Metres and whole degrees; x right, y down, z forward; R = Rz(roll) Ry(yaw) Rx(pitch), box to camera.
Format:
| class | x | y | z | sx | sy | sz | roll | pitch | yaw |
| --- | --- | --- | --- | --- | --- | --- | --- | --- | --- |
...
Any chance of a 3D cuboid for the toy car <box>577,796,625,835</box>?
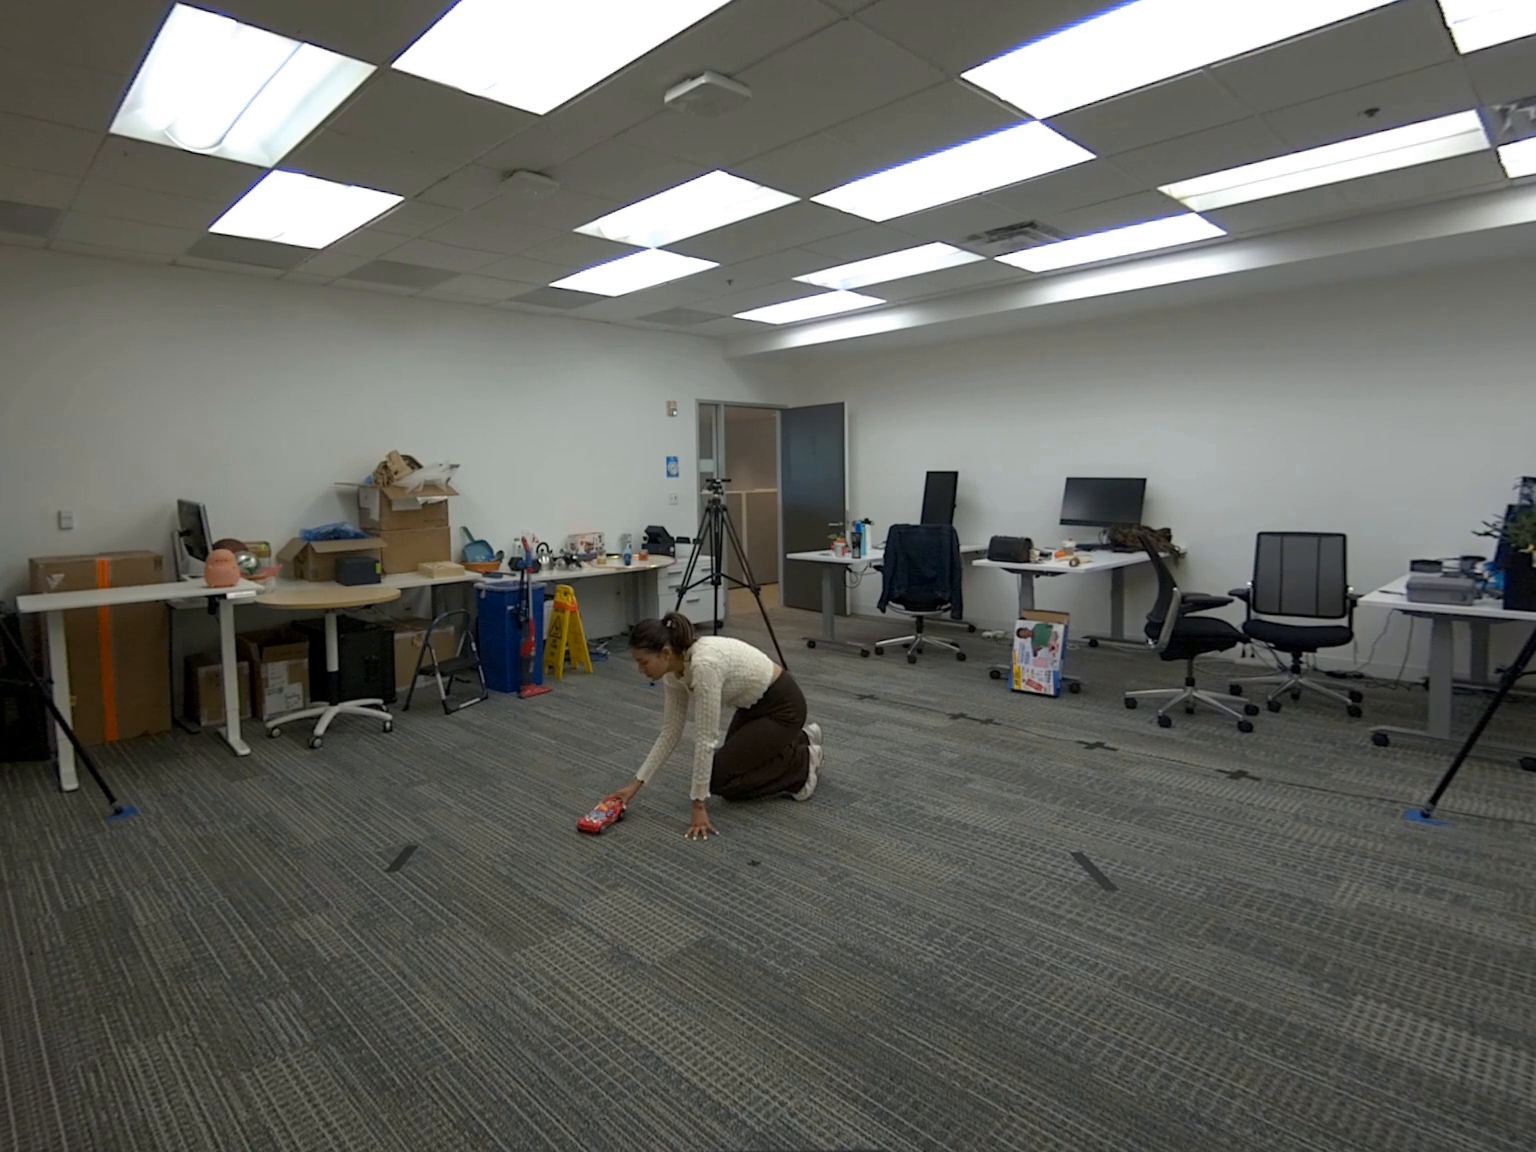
| class | x | y | z | sx | sy | sz | roll | pitch | yaw |
| --- | --- | --- | --- | --- | --- | --- | --- | --- | --- |
| toy car | -0.670 | 0.981 | 3.494 | 0.133 | 0.082 | 0.253 | -1 | 16 | 22 |
